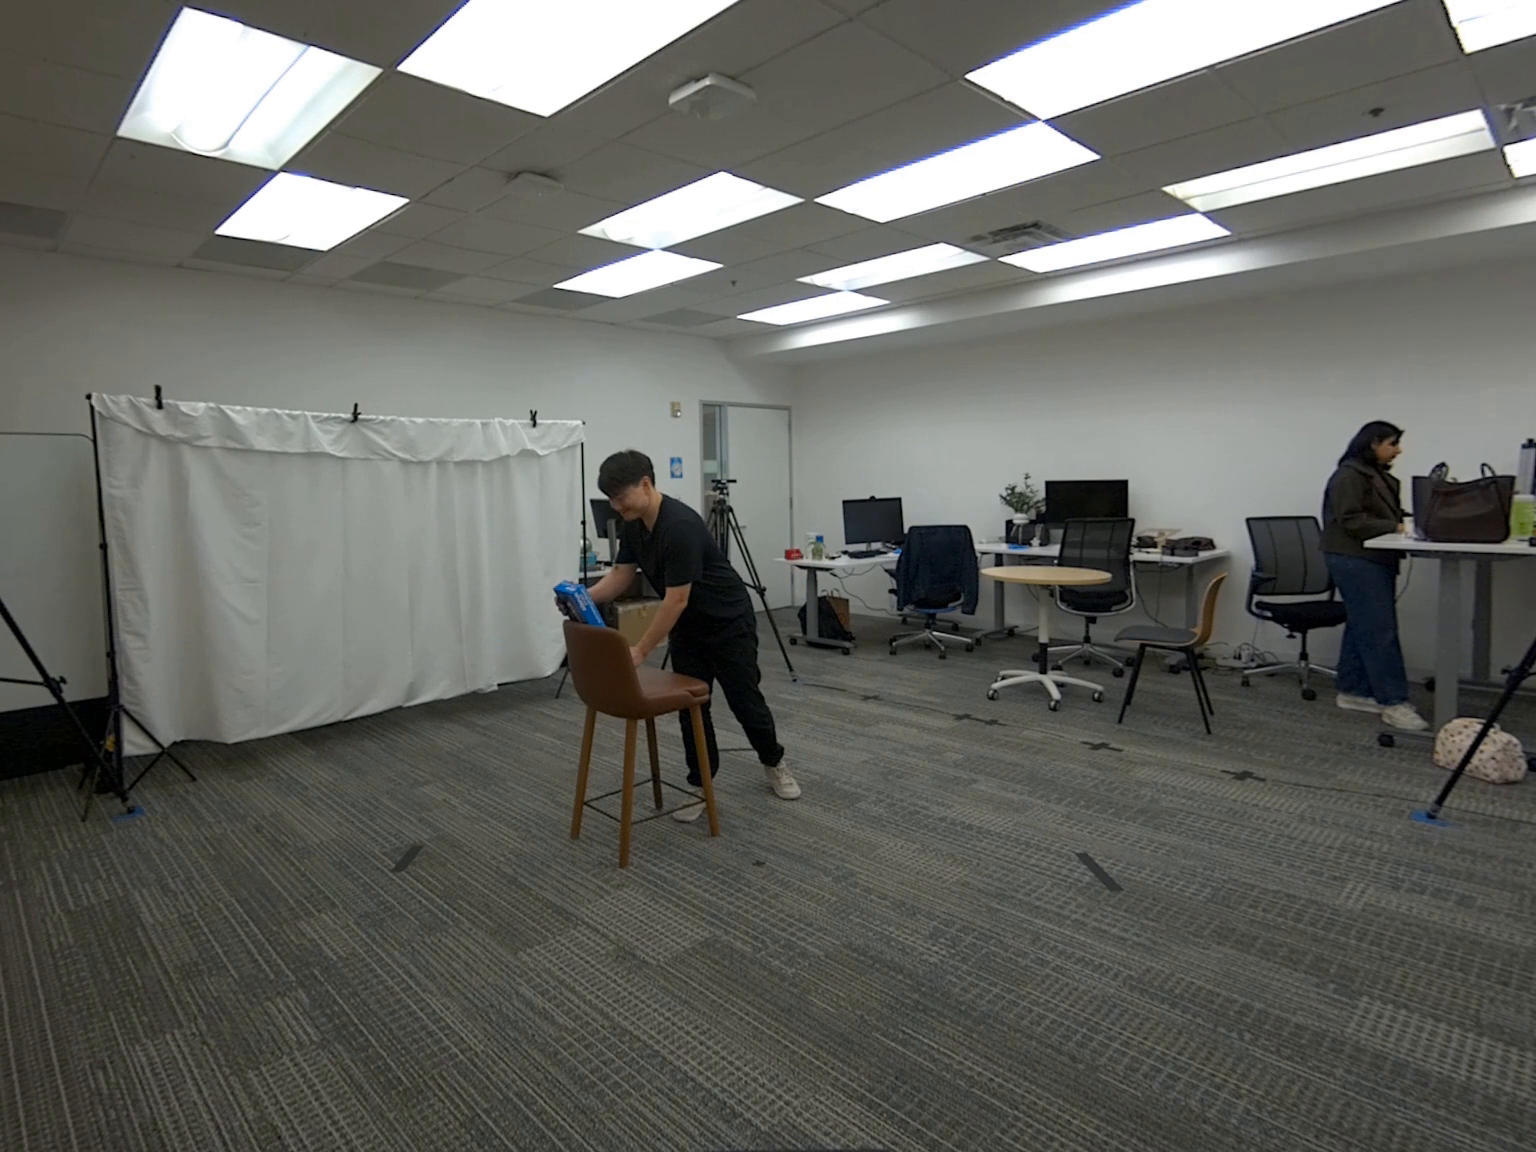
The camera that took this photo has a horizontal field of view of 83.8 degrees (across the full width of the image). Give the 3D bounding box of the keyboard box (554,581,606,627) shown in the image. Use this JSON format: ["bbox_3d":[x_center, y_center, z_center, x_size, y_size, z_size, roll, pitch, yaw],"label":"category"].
[{"bbox_3d":[-0.661,0.217,3.280,0.059,0.427,0.181,-35,22,-28],"label":"keyboard box"}]
